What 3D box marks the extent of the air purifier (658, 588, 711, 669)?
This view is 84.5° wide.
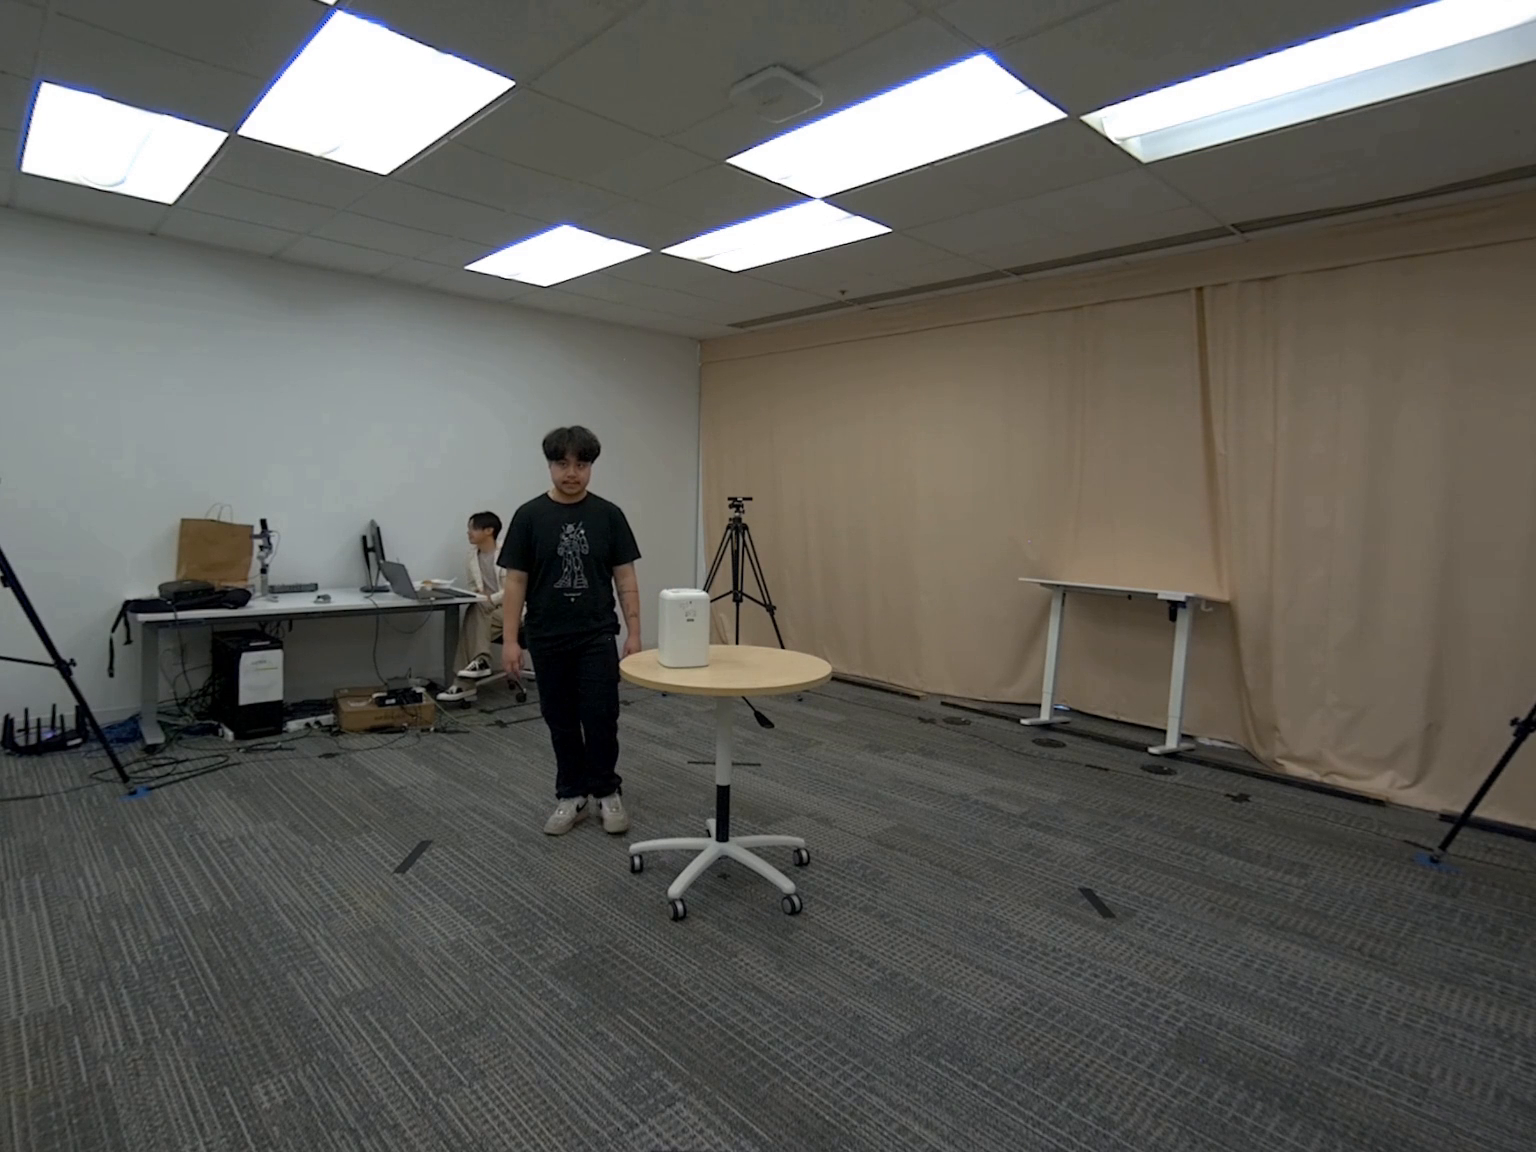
[{"bbox_3d":[-0.313,0.185,3.031,0.169,0.264,0.174,-2,5,-18],"label":"air purifier"}]
